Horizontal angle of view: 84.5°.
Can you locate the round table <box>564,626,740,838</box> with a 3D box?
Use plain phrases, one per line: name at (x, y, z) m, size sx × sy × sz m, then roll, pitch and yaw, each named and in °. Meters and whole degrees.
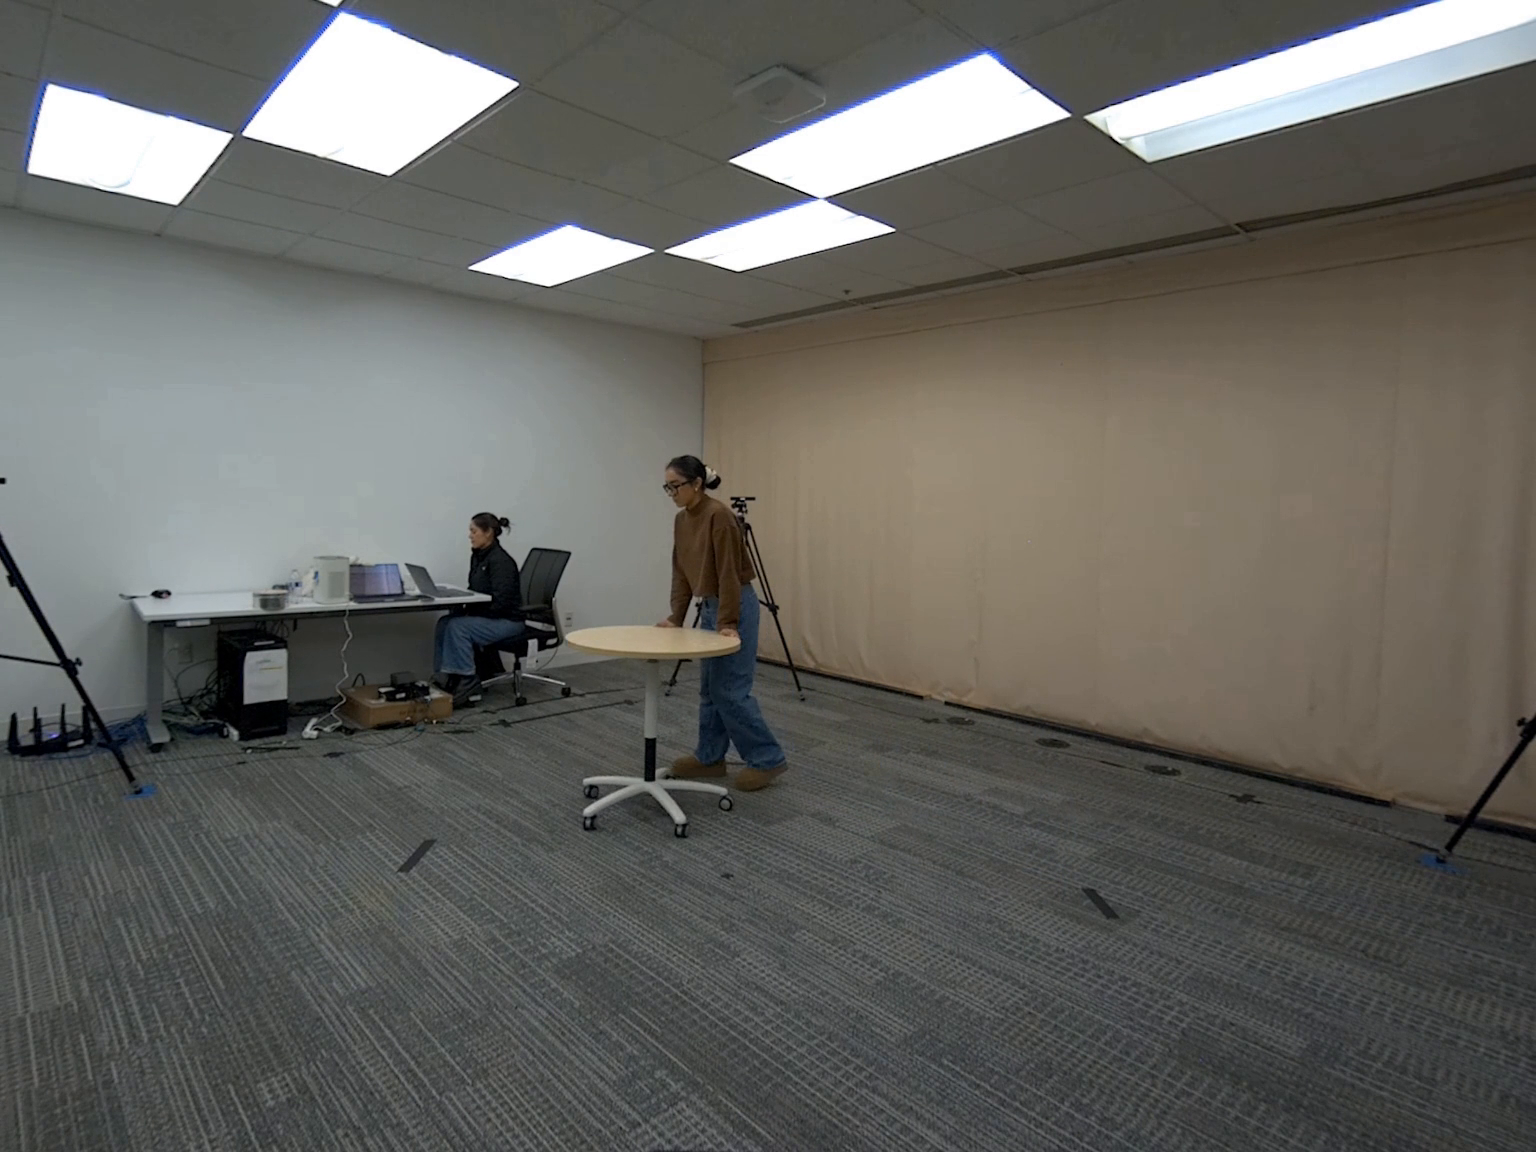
round table at (-0.526, 0.661, 3.715) m, size 0.763 × 0.792 × 0.766 m, roll 2°, pitch 3°, yaw -1°
